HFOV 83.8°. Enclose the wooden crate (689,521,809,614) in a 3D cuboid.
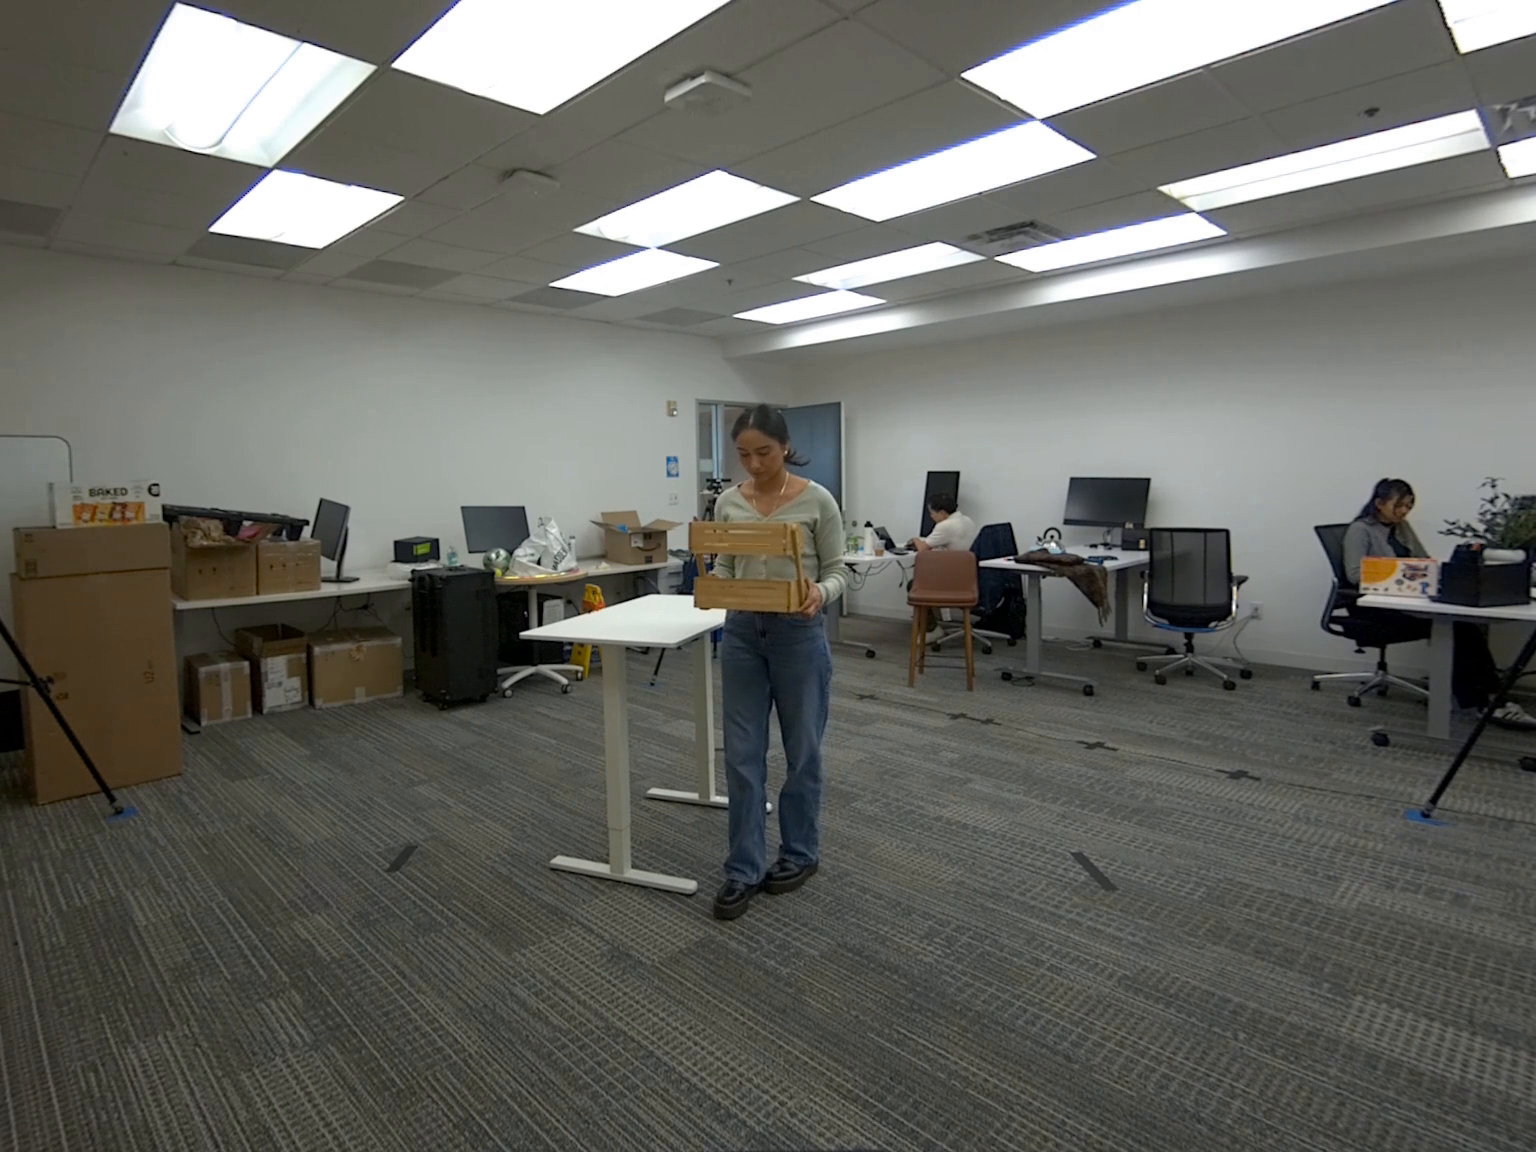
[{"bbox_3d":[-0.046,-0.038,2.622,0.330,0.273,0.297,0,1,16],"label":"wooden crate"}]
